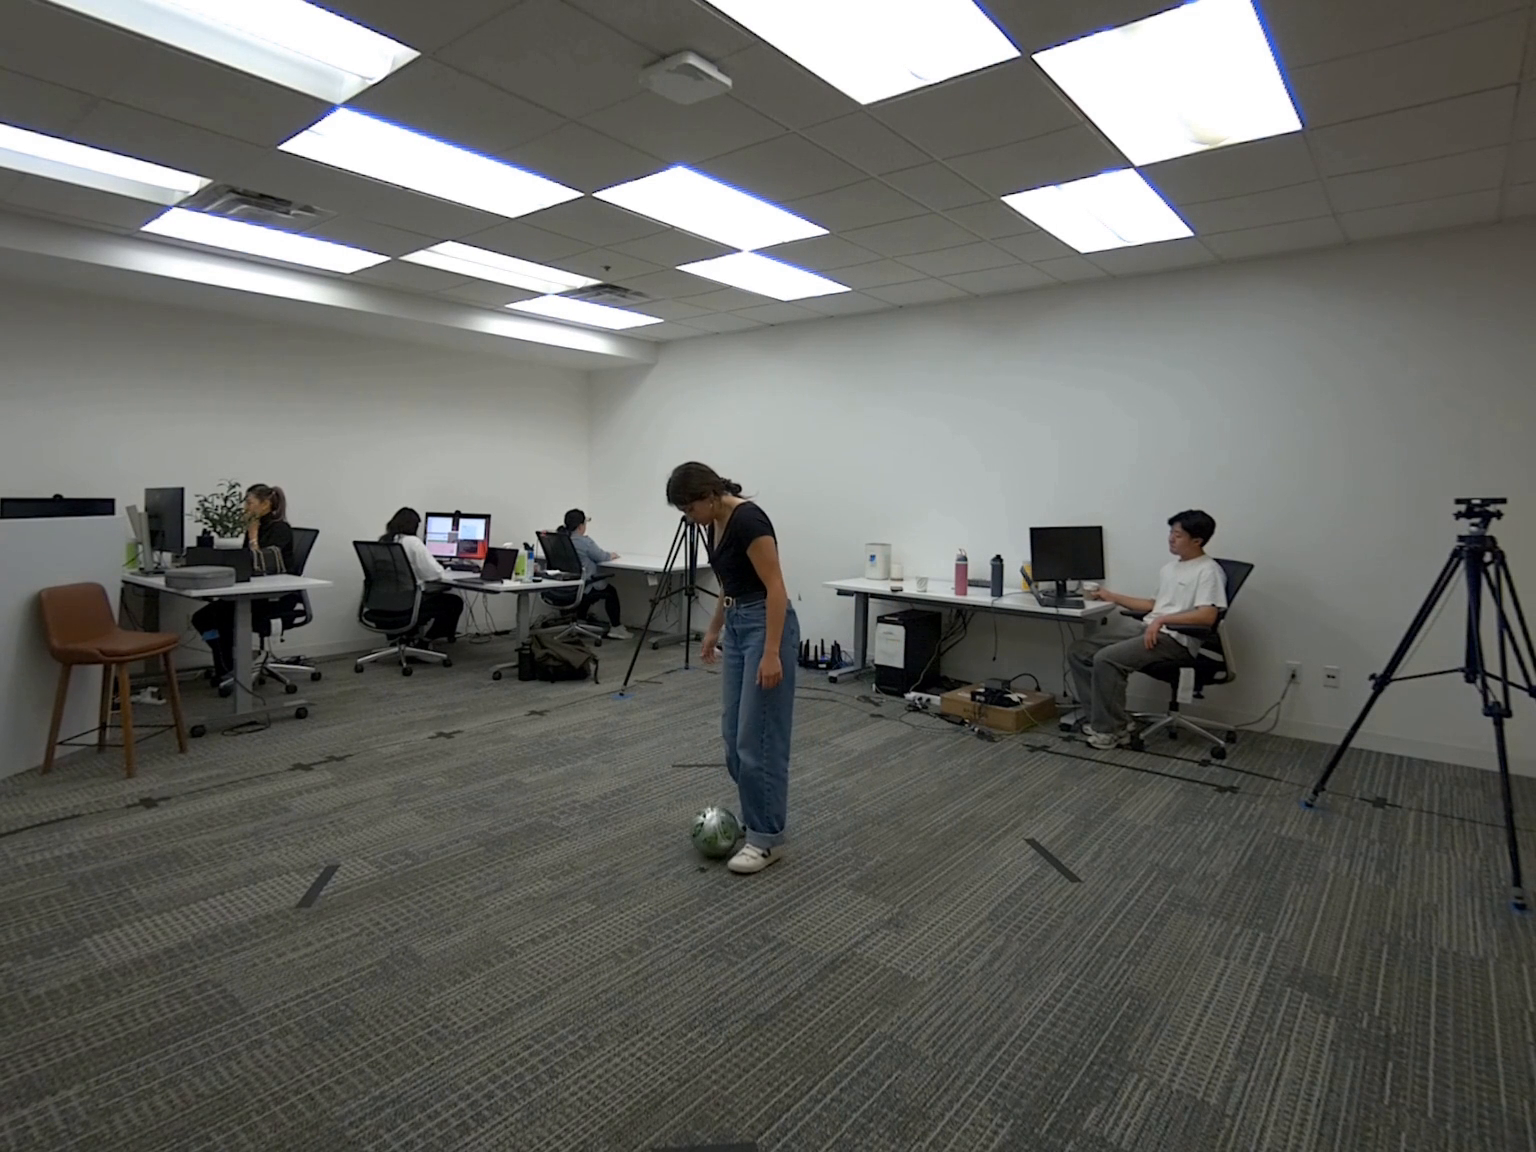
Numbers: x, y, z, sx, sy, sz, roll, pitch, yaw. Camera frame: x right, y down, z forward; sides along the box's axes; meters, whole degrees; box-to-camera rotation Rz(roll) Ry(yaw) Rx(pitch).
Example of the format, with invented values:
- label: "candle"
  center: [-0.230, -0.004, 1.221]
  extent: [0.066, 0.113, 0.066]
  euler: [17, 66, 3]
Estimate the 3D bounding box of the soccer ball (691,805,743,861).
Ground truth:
- label: "soccer ball"
  center: [-0.211, 0.964, 3.231]
  extent: [0.187, 0.187, 0.188]
  euler: [1, 4, -2]
